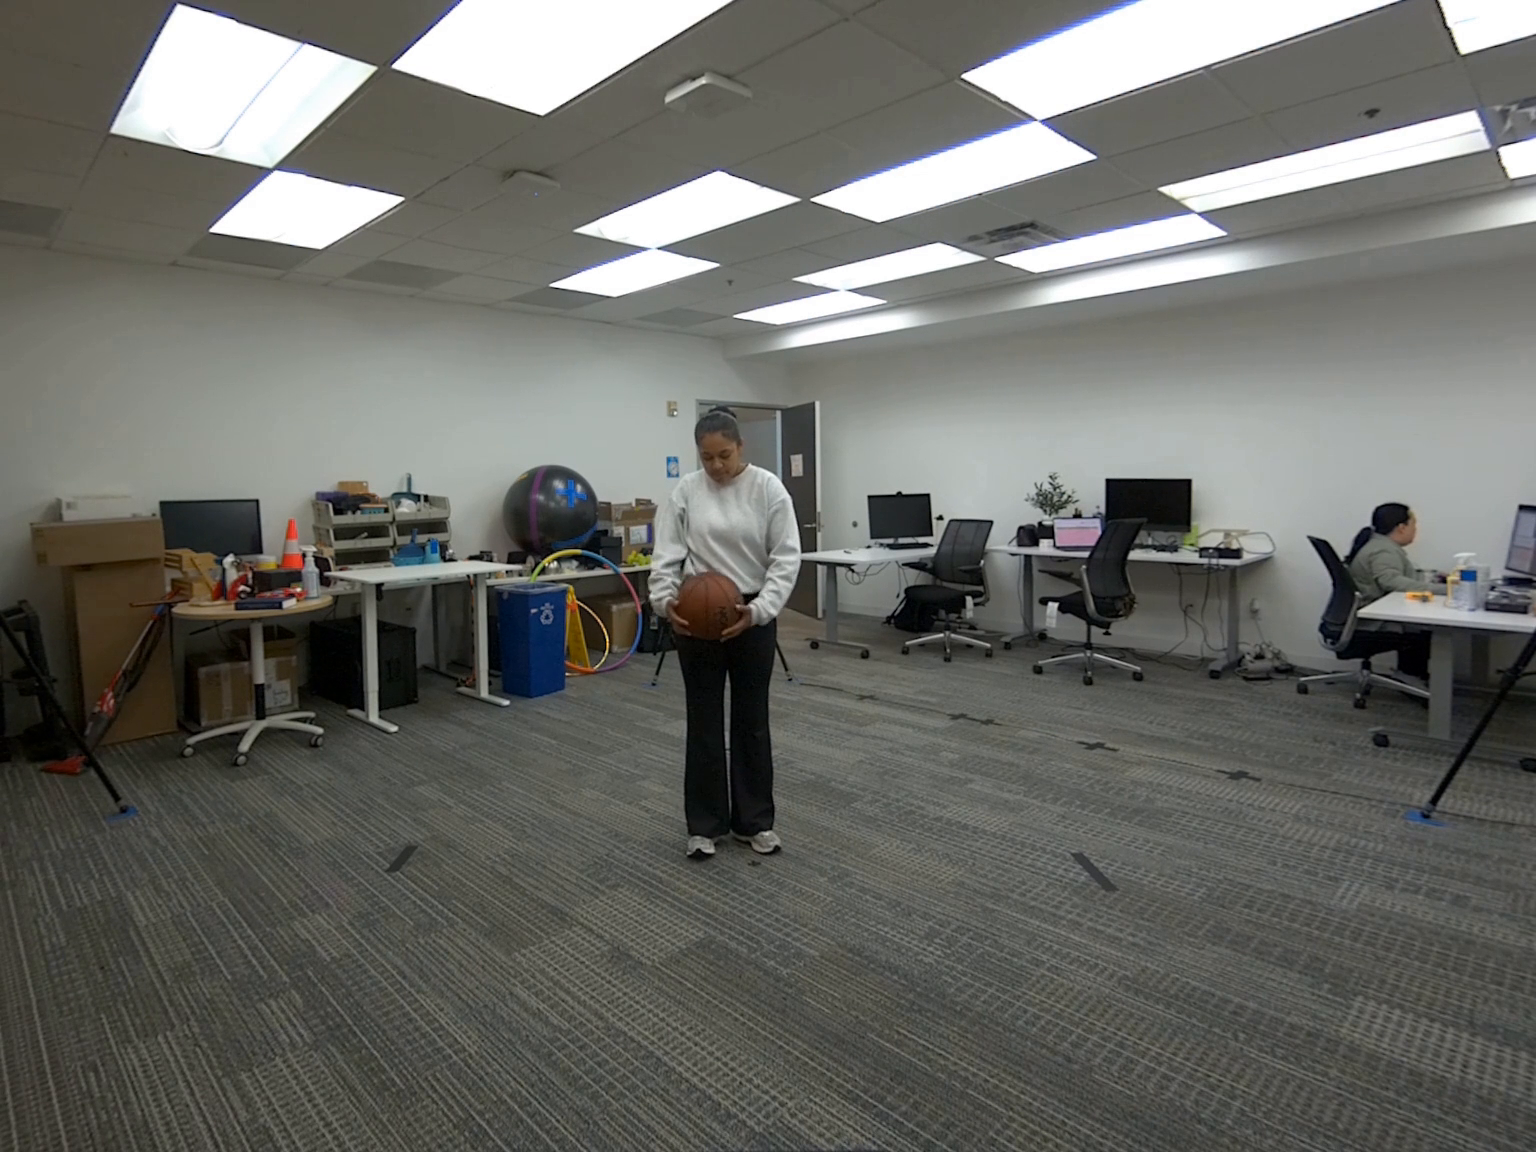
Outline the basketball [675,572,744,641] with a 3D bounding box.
[{"bbox_3d":[-0.203,0.090,3.009,0.236,0.235,0.237,-1,5,-2],"label":"basketball"}]
